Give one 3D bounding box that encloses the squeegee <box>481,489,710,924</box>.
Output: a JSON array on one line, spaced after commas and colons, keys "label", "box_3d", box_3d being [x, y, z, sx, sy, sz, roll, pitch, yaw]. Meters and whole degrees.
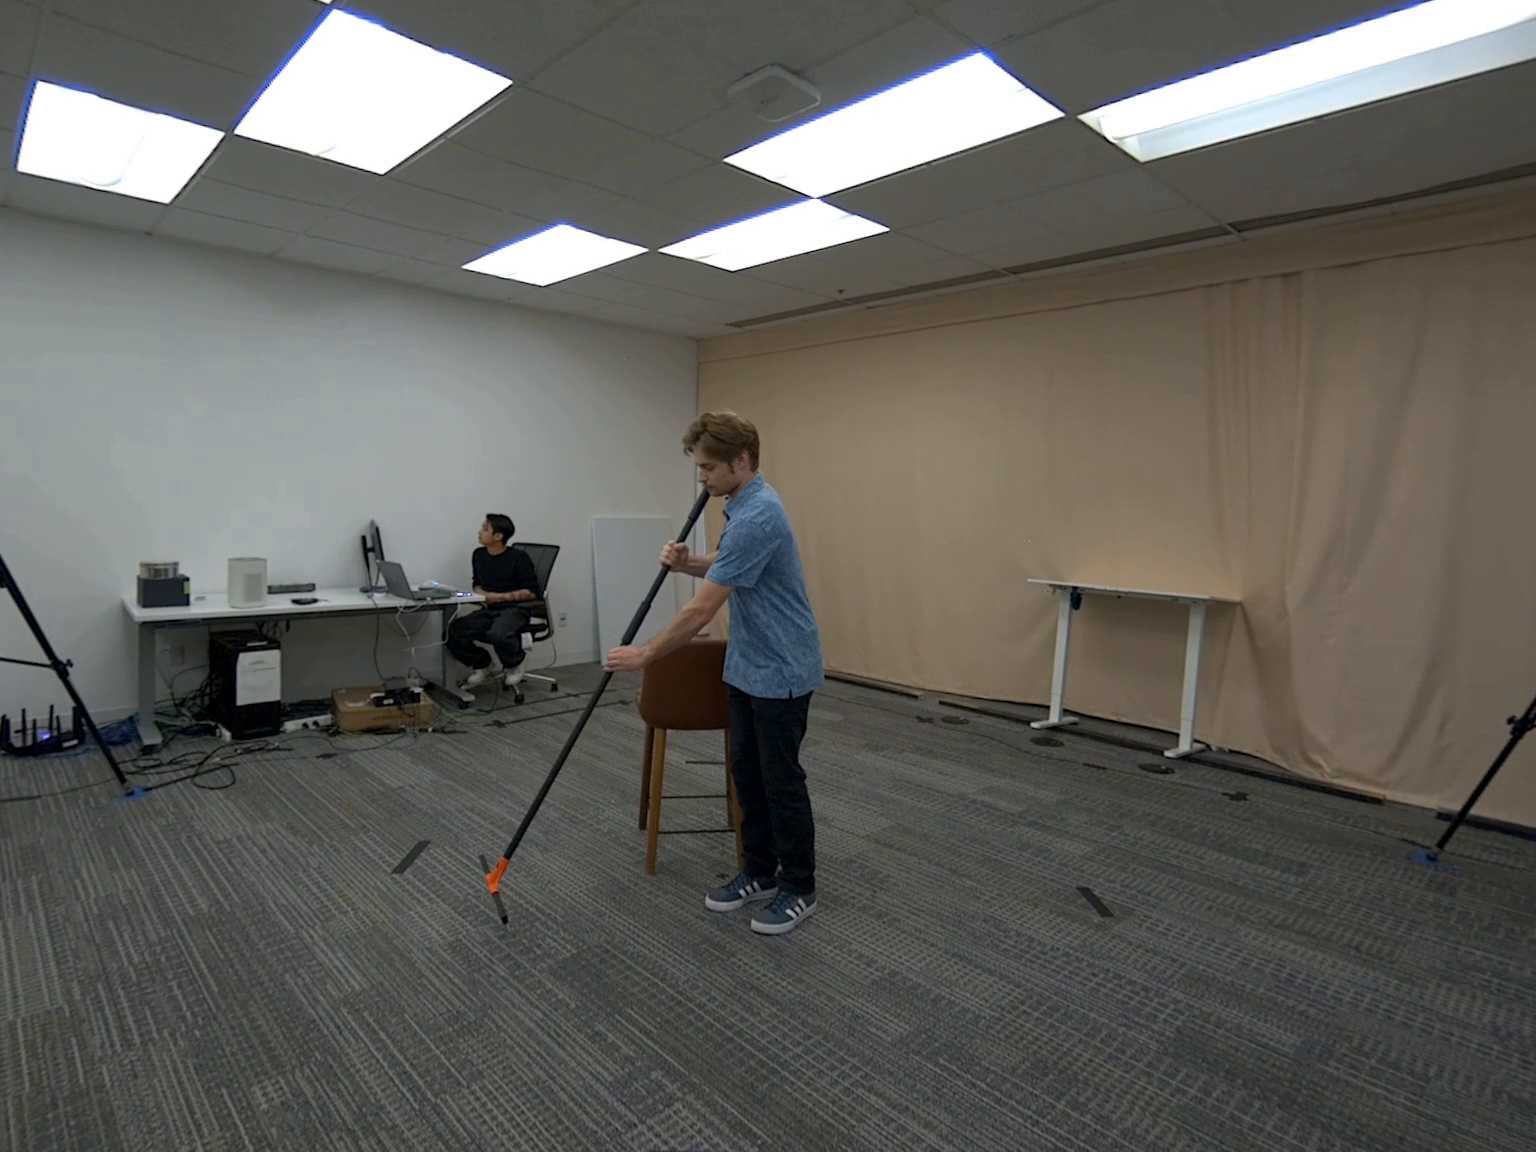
[{"label": "squeegee", "box_3d": [-0.538, 0.320, 2.723, 0.052, 1.541, 0.447, 30, -9, -26]}]
